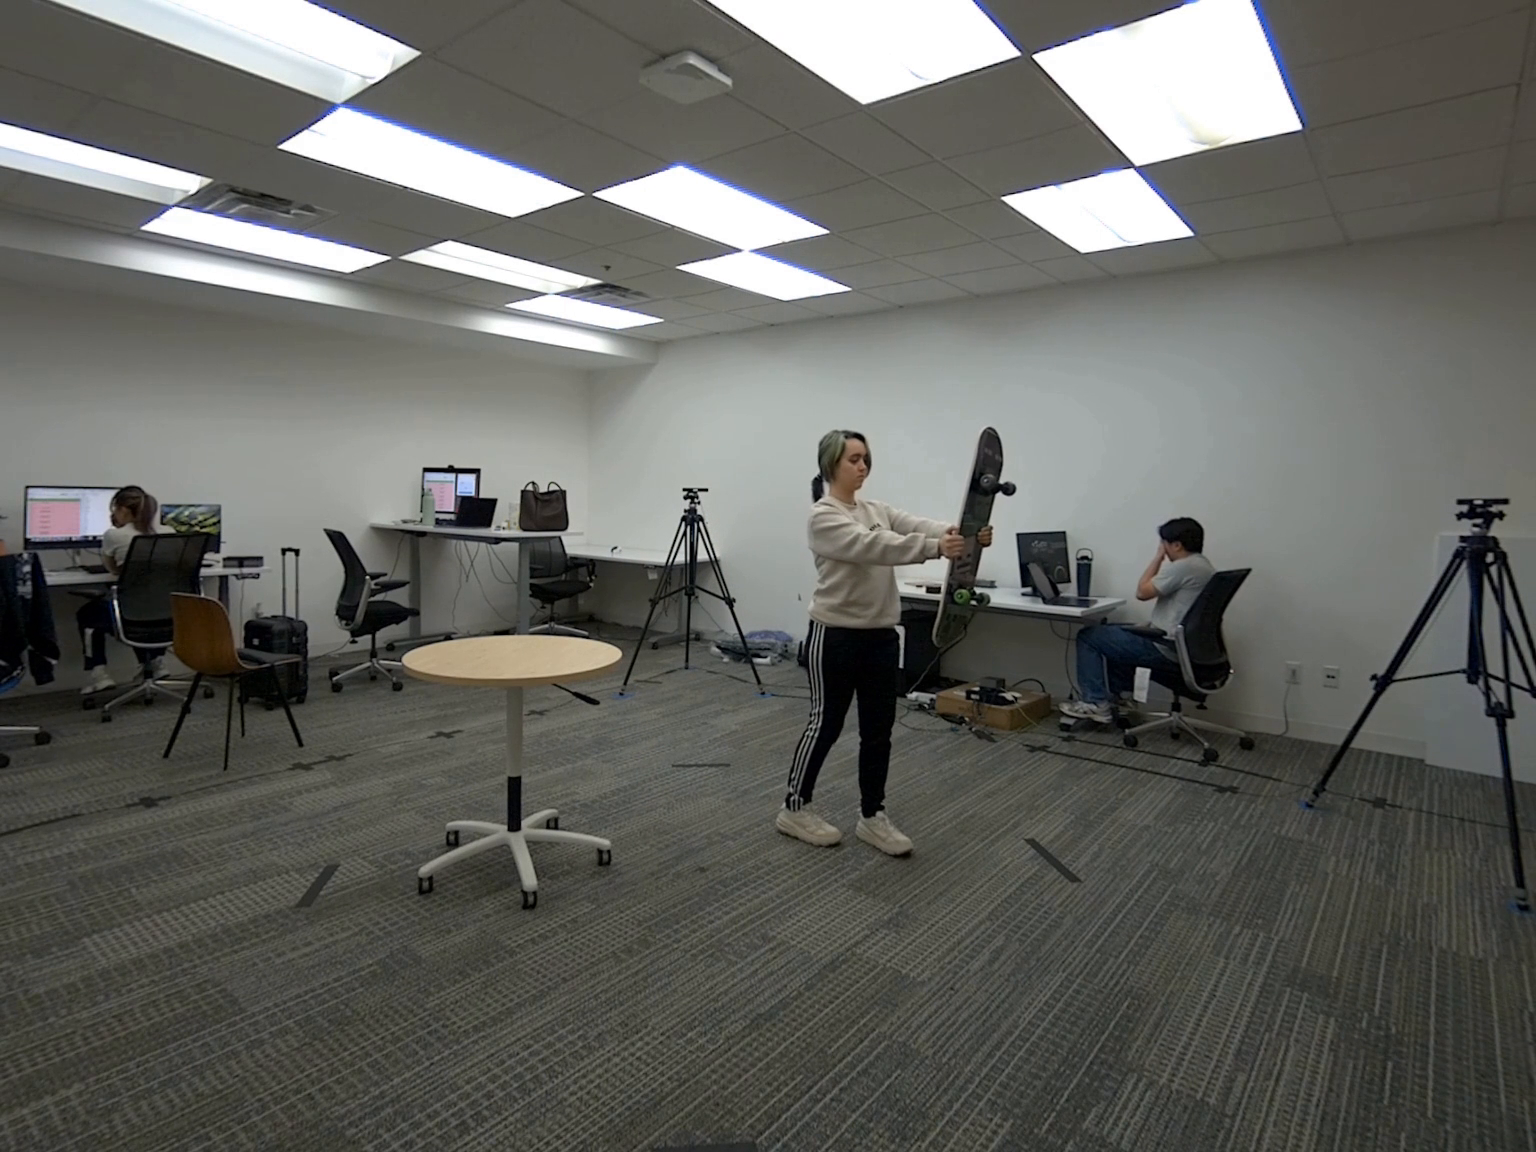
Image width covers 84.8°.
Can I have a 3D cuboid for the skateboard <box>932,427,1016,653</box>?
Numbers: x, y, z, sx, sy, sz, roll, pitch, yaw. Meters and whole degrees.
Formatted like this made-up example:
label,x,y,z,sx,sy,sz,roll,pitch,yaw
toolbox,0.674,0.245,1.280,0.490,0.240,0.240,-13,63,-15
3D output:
label,x,y,z,sx,sy,sz,roll,pitch,yaw
skateboard,0.711,-0.126,2.955,0.114,0.784,0.186,16,4,42
